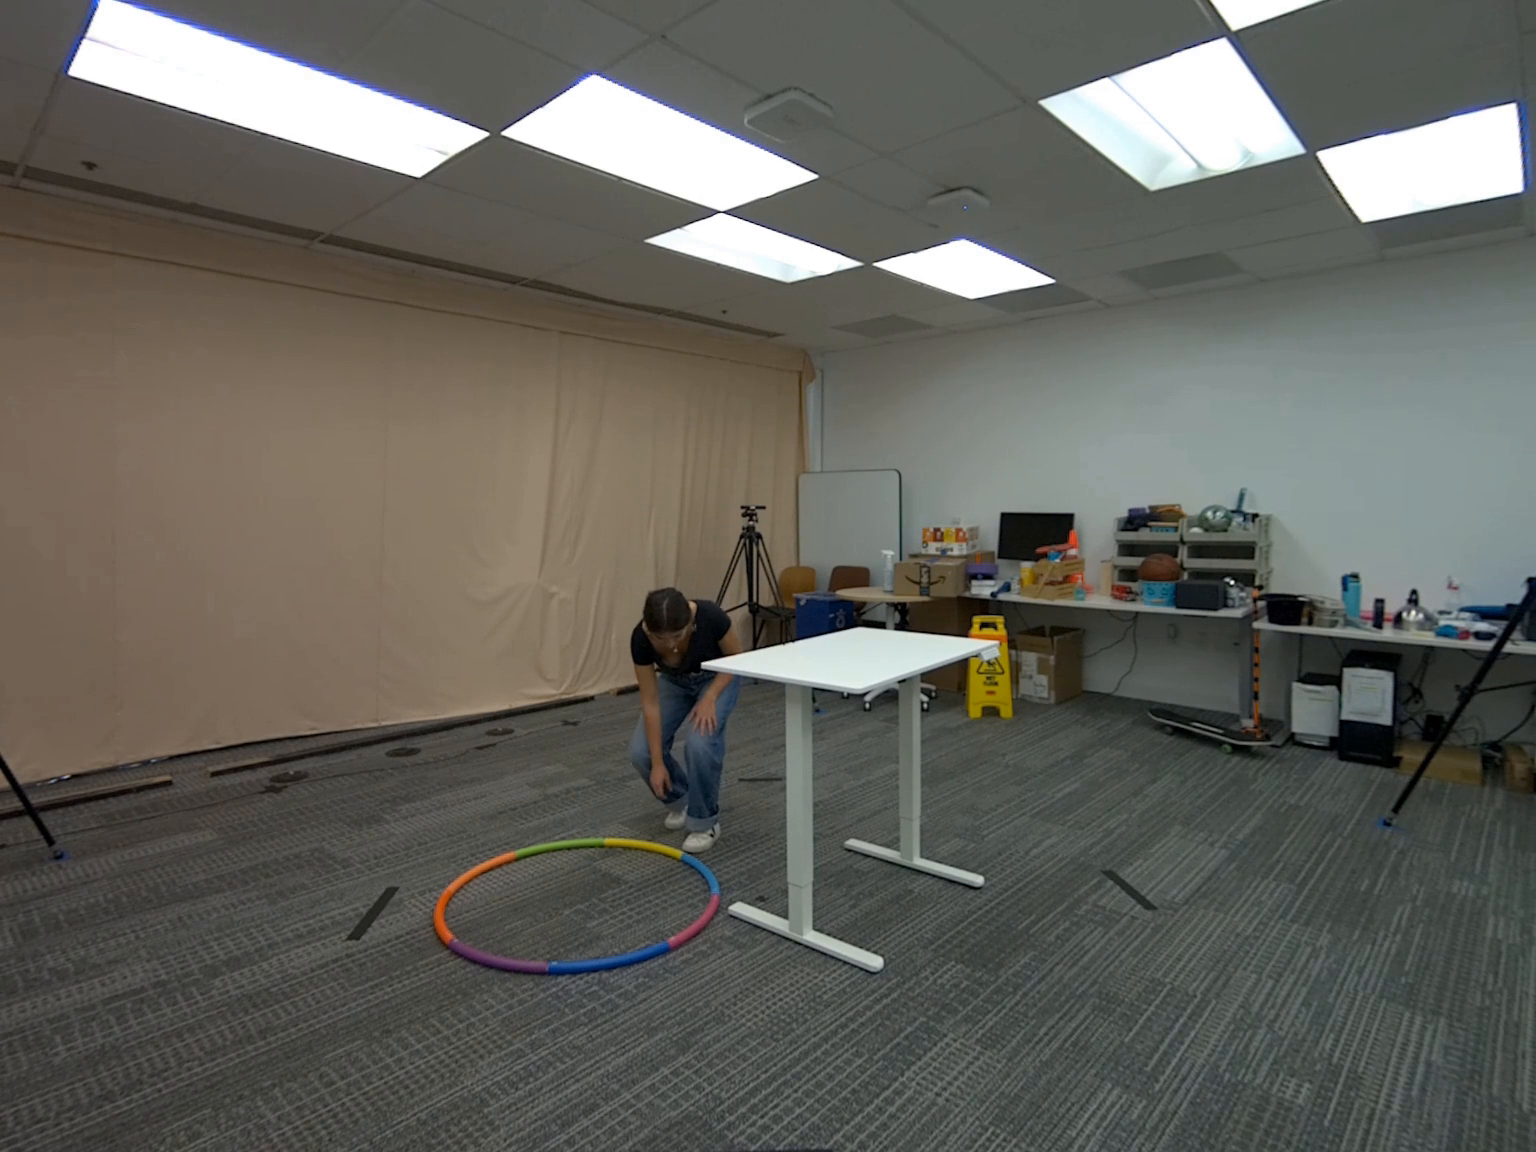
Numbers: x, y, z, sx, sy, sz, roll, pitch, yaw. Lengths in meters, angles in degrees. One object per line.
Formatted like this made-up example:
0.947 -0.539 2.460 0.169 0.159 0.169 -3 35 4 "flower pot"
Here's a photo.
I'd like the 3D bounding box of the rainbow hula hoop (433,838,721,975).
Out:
-0.654 1.122 2.981 0.978 0.035 0.982 -1 5 -2 "rainbow hula hoop"
